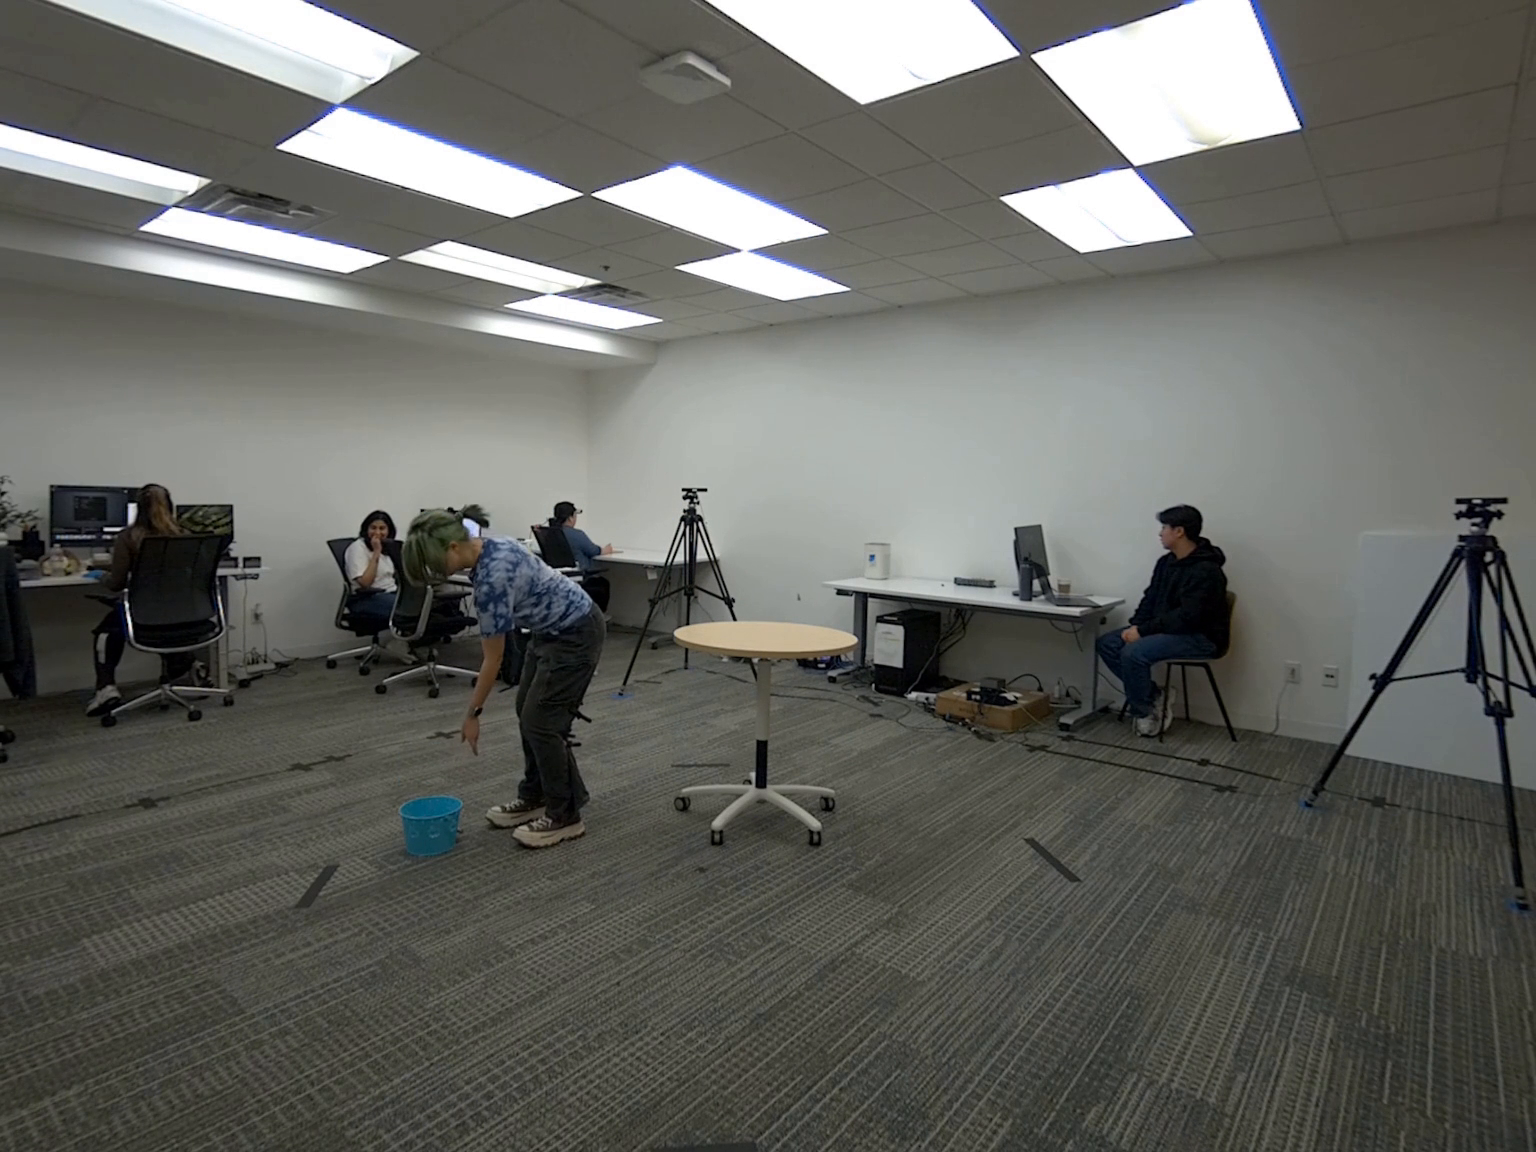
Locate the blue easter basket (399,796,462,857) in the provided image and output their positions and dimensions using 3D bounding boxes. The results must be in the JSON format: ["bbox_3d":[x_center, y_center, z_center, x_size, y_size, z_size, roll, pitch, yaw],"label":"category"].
[{"bbox_3d":[-1.304,0.959,3.278,0.243,0.155,0.245,0,6,-2],"label":"blue easter basket"}]
